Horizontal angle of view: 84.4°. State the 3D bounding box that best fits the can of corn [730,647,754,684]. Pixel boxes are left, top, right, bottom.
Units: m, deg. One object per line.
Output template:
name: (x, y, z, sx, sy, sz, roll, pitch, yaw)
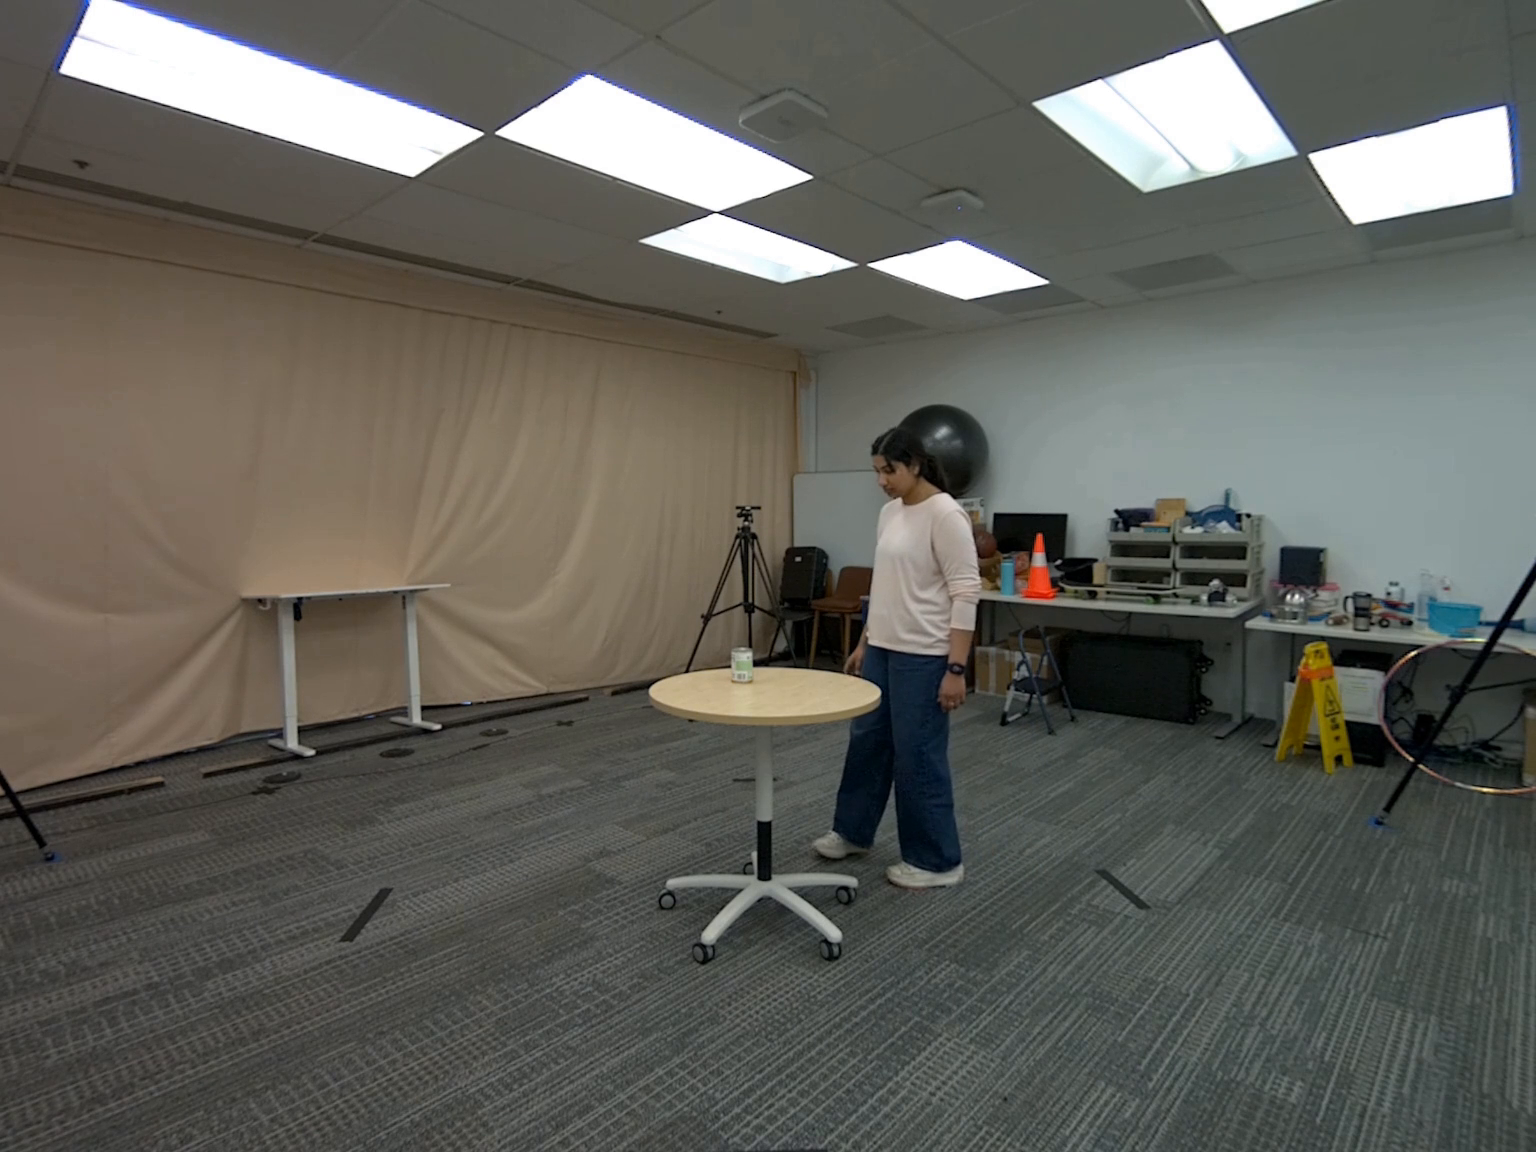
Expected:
can of corn: (-0.086, 0.314, 2.924, 0.074, 0.111, 0.074, 0, 5, -2)
